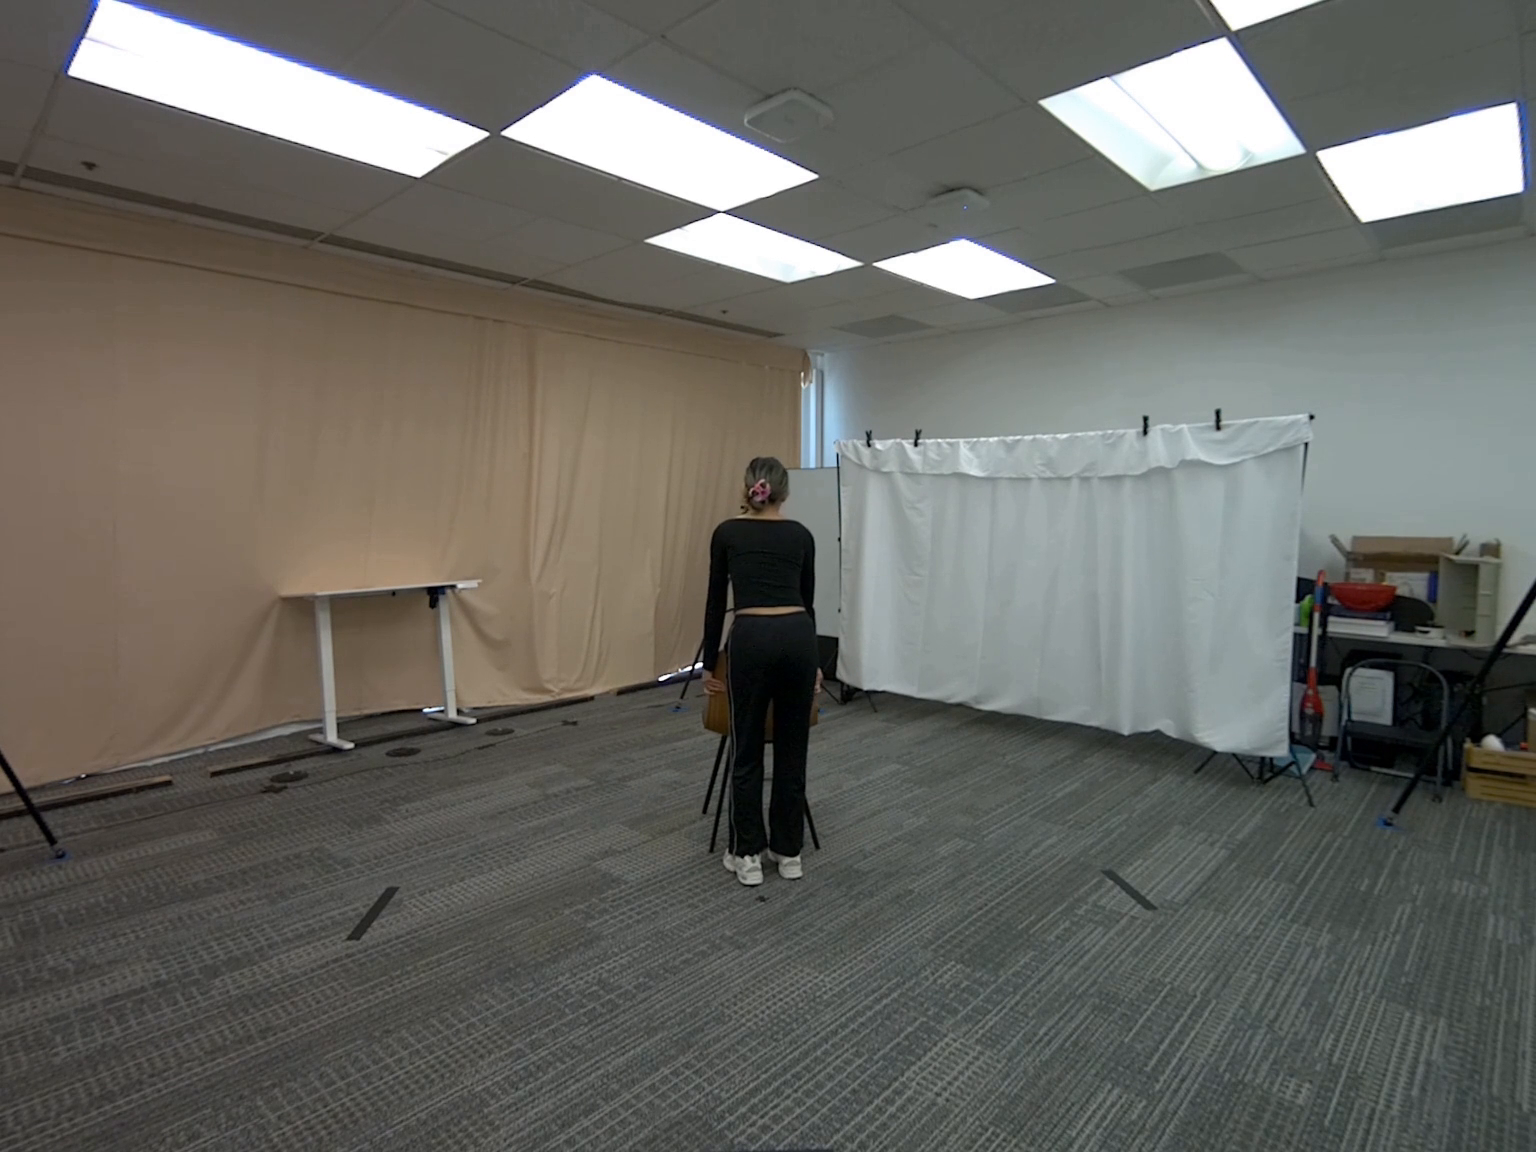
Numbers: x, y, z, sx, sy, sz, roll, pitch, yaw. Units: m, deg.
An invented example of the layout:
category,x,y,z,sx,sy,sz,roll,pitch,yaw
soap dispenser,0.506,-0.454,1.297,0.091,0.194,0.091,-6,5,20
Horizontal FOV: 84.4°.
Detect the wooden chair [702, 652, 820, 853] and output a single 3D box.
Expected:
category,x,y,z,sx,sy,sz,roll,pitch,yaw
wooden chair,-0.053,0.665,3.595,0.475,0.873,0.528,-1,7,-6
